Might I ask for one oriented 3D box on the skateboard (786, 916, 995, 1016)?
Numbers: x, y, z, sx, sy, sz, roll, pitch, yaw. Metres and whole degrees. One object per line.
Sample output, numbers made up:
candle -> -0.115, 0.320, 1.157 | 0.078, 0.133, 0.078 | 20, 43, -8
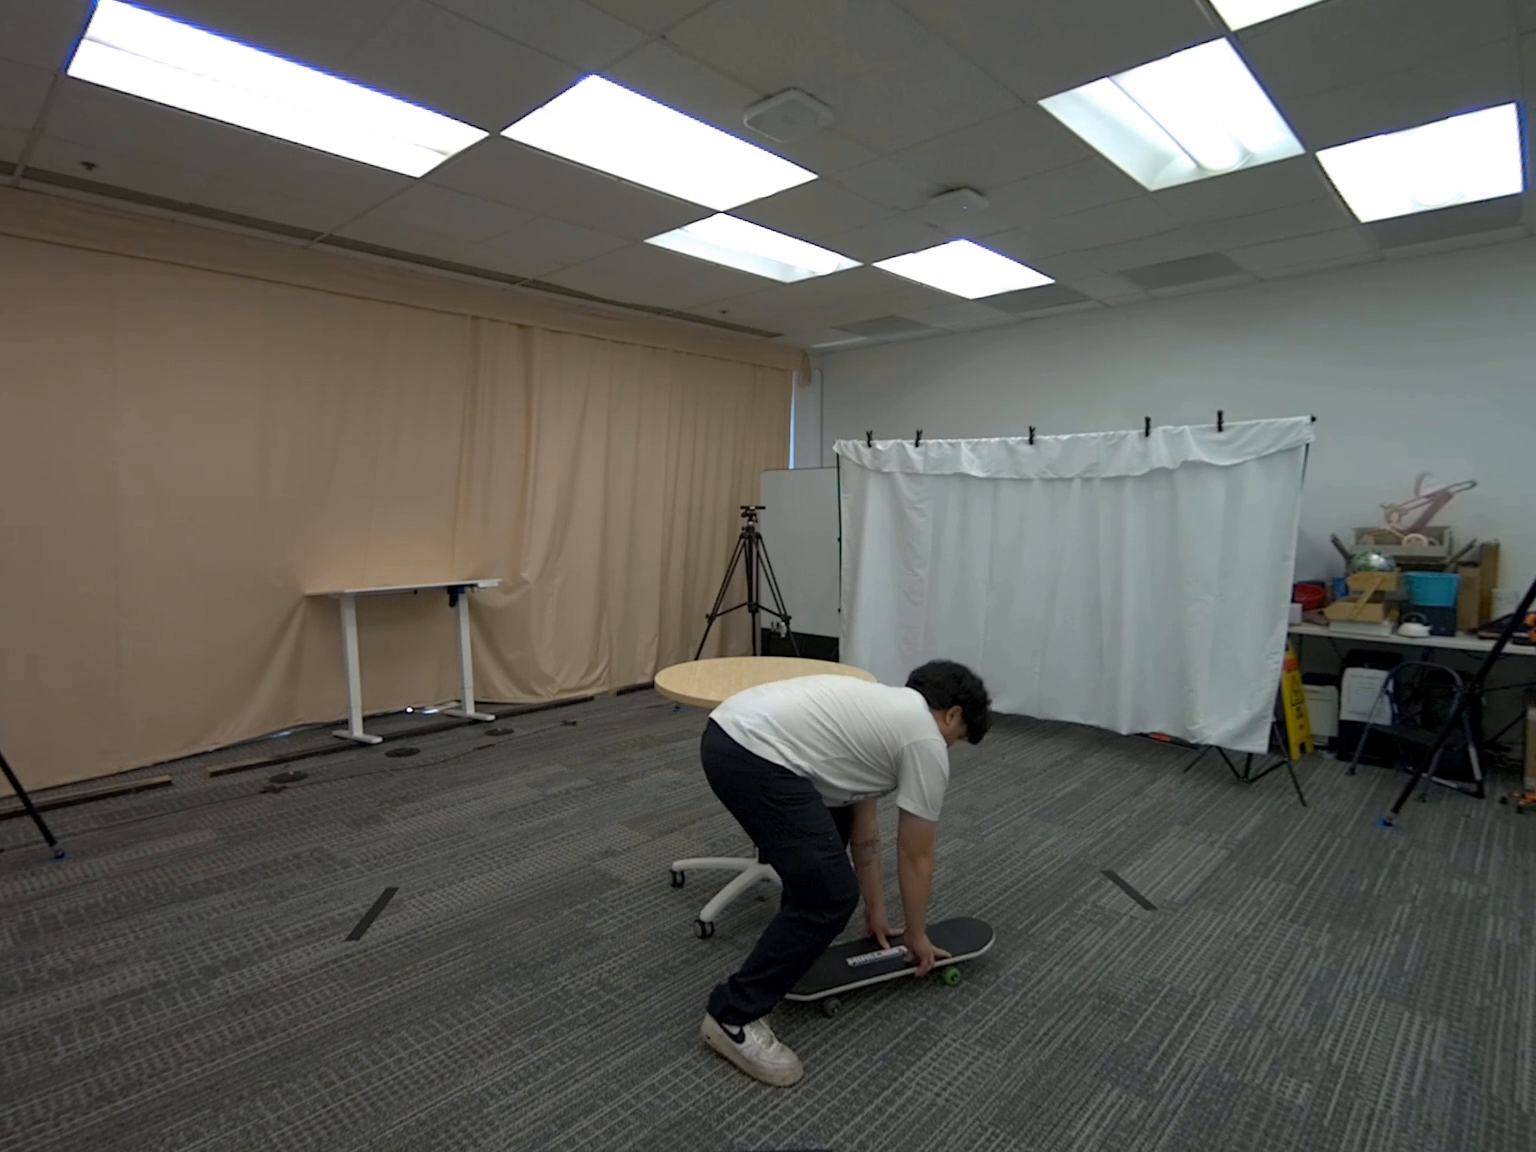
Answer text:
skateboard -> 0.331, 1.138, 2.439 | 0.769, 0.110, 0.198 | -2, 4, -21
